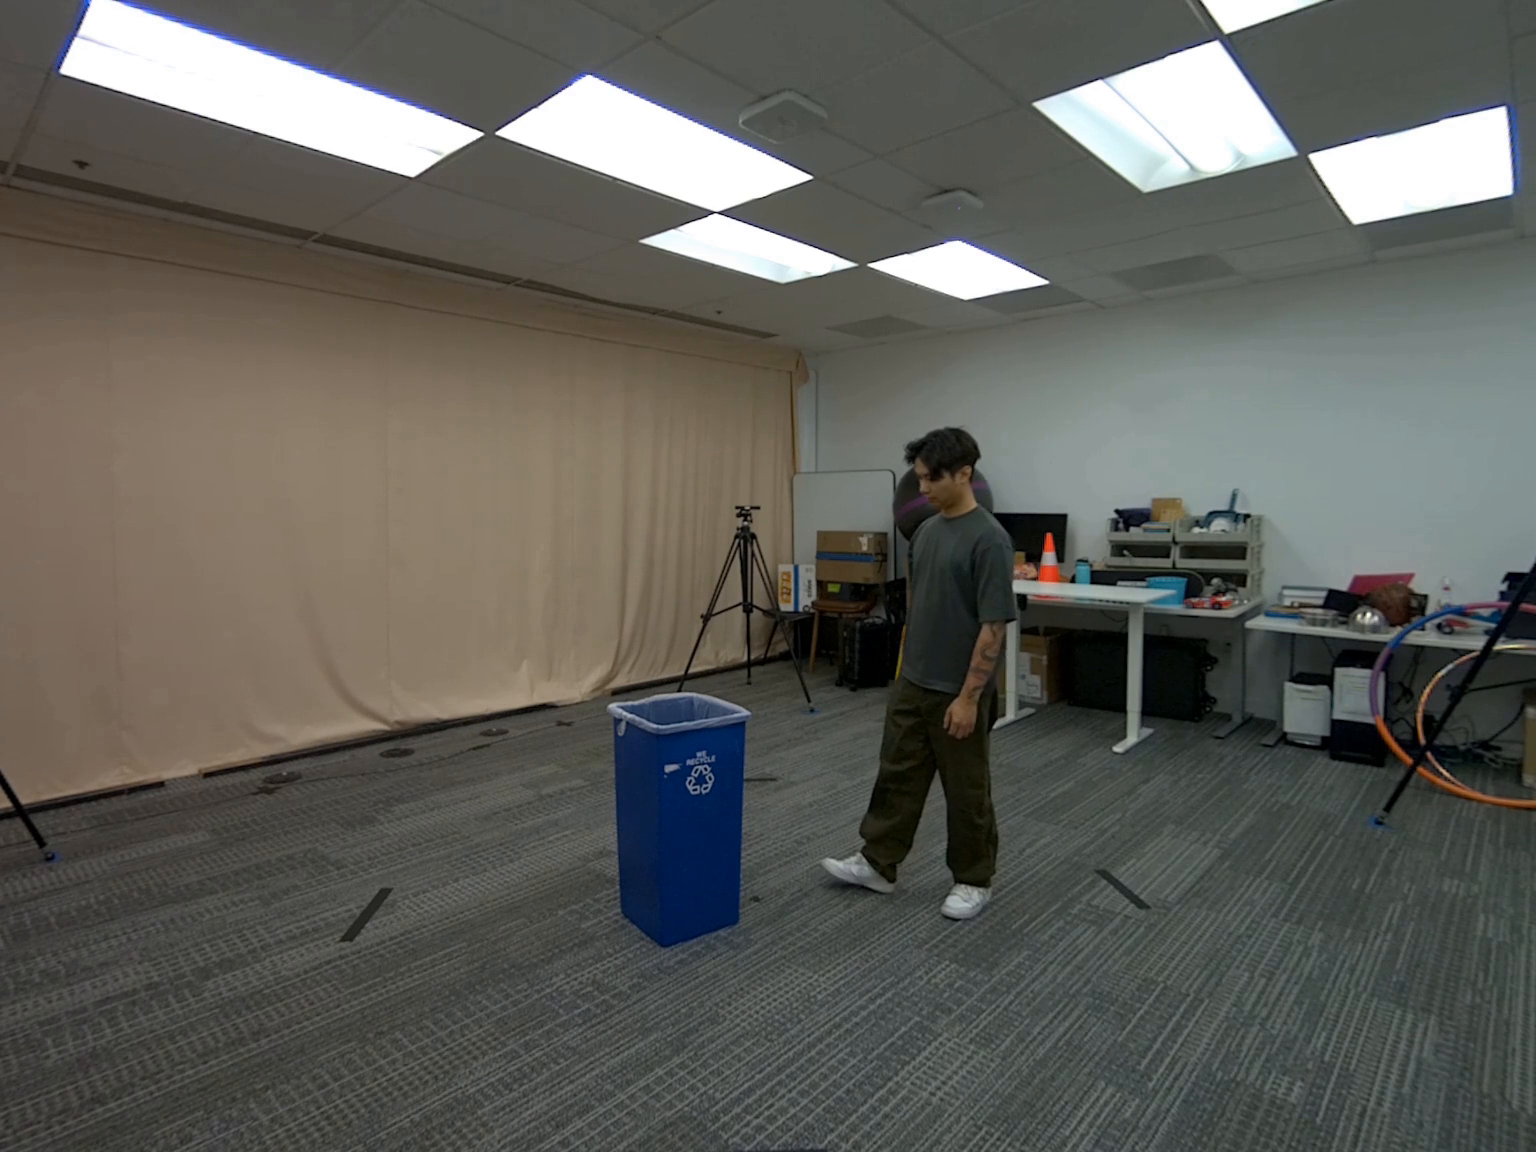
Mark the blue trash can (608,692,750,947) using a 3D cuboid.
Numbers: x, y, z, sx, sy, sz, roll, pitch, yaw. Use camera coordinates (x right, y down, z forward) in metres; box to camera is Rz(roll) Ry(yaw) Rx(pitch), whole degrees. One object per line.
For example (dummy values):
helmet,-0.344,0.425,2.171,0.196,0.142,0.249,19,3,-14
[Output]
blue trash can,-0.304,0.802,2.846,0.367,0.712,0.386,-2,4,-37
